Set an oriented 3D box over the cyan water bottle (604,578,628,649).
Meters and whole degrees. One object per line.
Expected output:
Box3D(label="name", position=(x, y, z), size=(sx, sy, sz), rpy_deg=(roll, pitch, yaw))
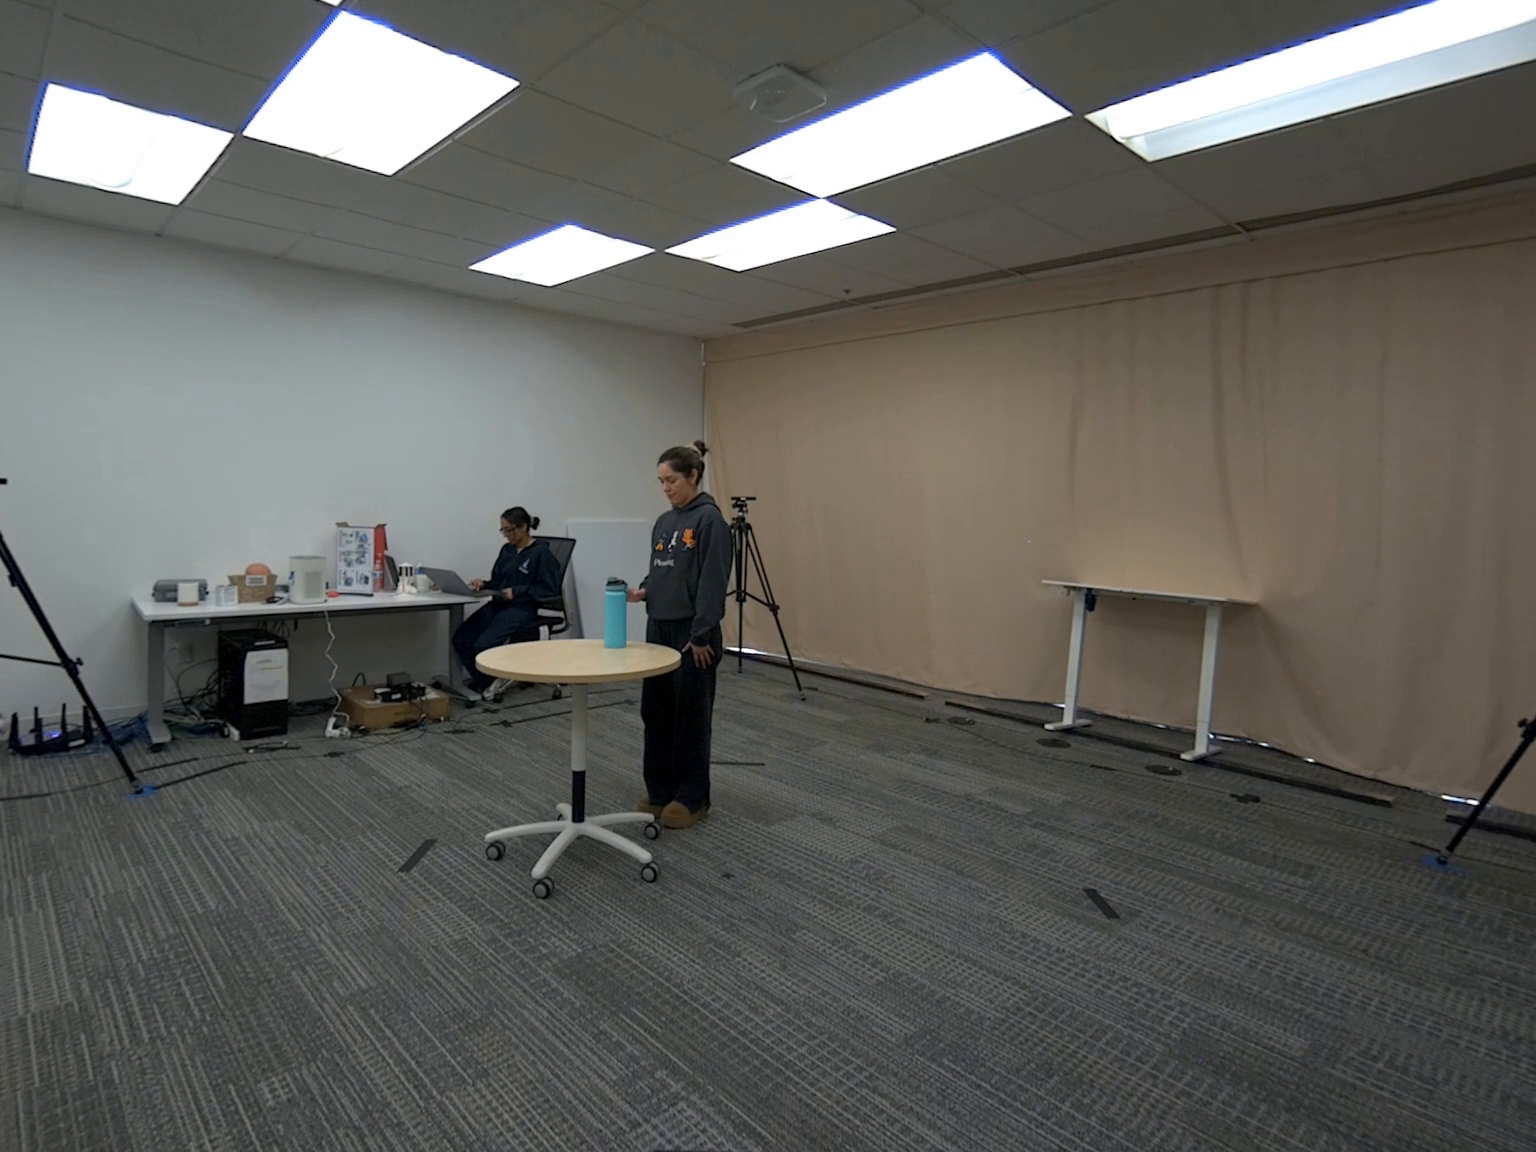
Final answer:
Box3D(label="cyan water bottle", position=(-0.629, 0.150, 3.407), size=(0.092, 0.283, 0.092), rpy_deg=(2, 4, -2))
